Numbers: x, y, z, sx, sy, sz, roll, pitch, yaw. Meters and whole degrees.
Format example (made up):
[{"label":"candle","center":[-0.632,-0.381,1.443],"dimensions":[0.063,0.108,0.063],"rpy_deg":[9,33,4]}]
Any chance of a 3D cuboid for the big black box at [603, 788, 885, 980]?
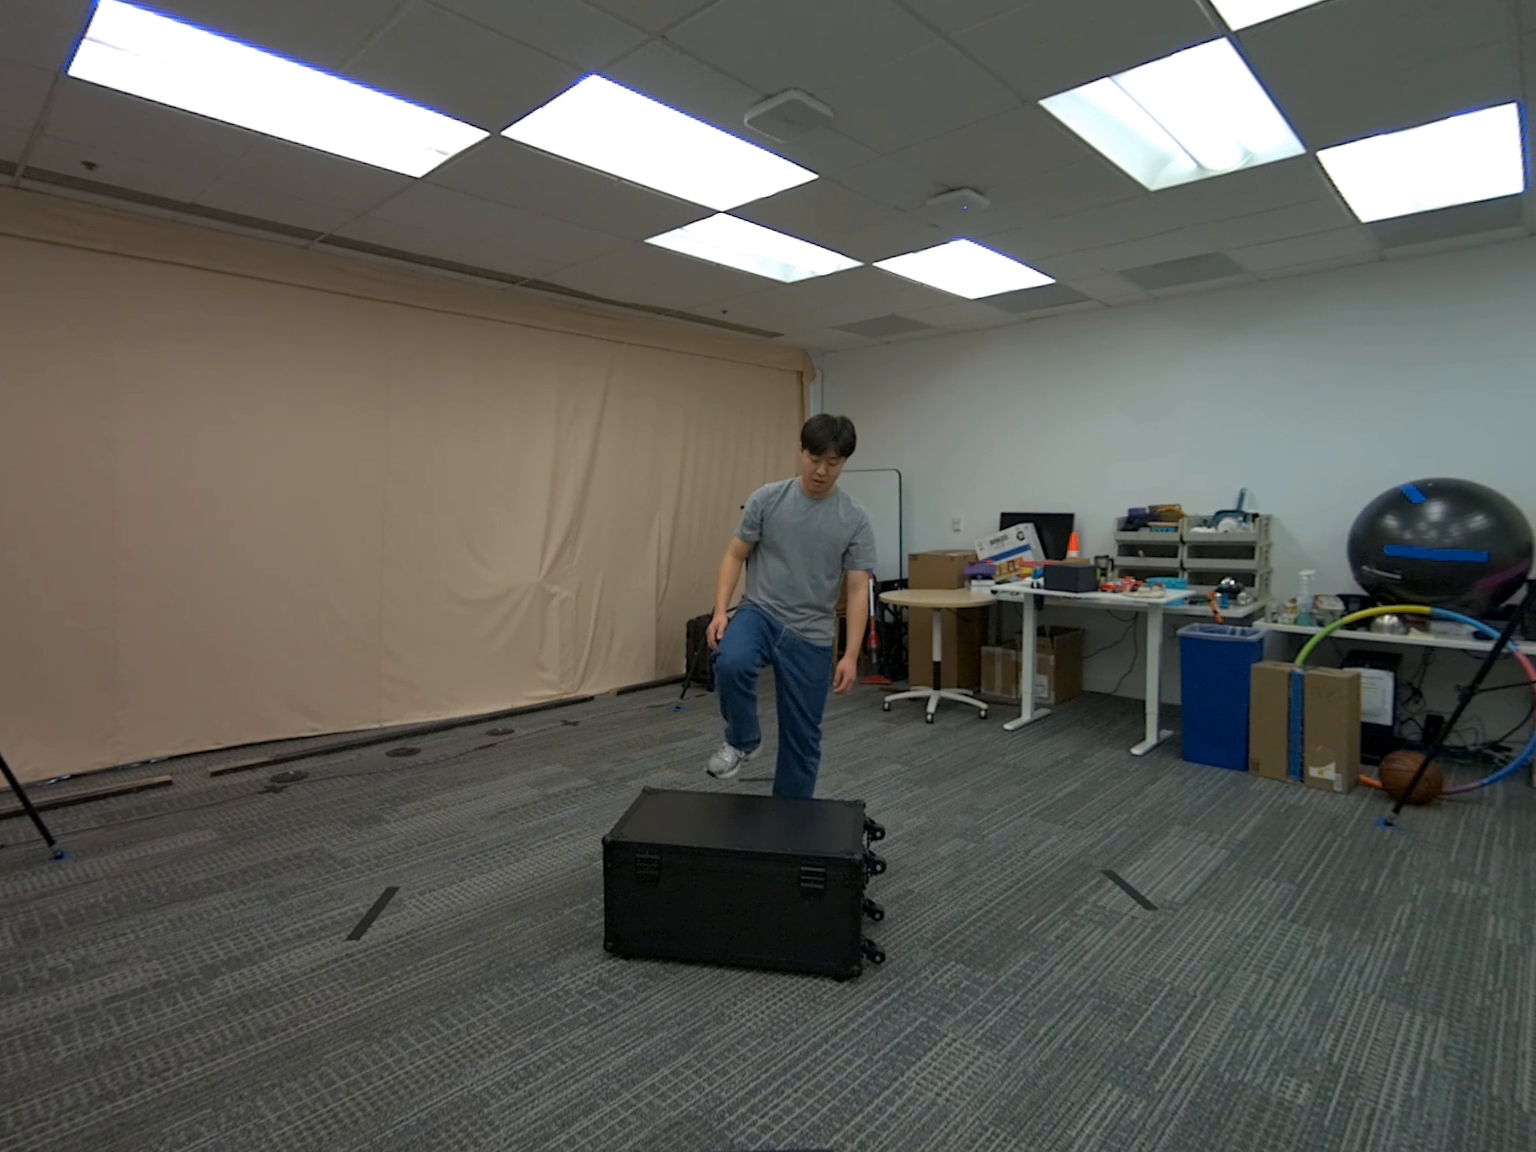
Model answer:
[{"label":"big black box","center":[-0.053,0.972,2.733],"dimensions":[0.871,0.395,0.516],"rpy_deg":[1,3,9]}]
